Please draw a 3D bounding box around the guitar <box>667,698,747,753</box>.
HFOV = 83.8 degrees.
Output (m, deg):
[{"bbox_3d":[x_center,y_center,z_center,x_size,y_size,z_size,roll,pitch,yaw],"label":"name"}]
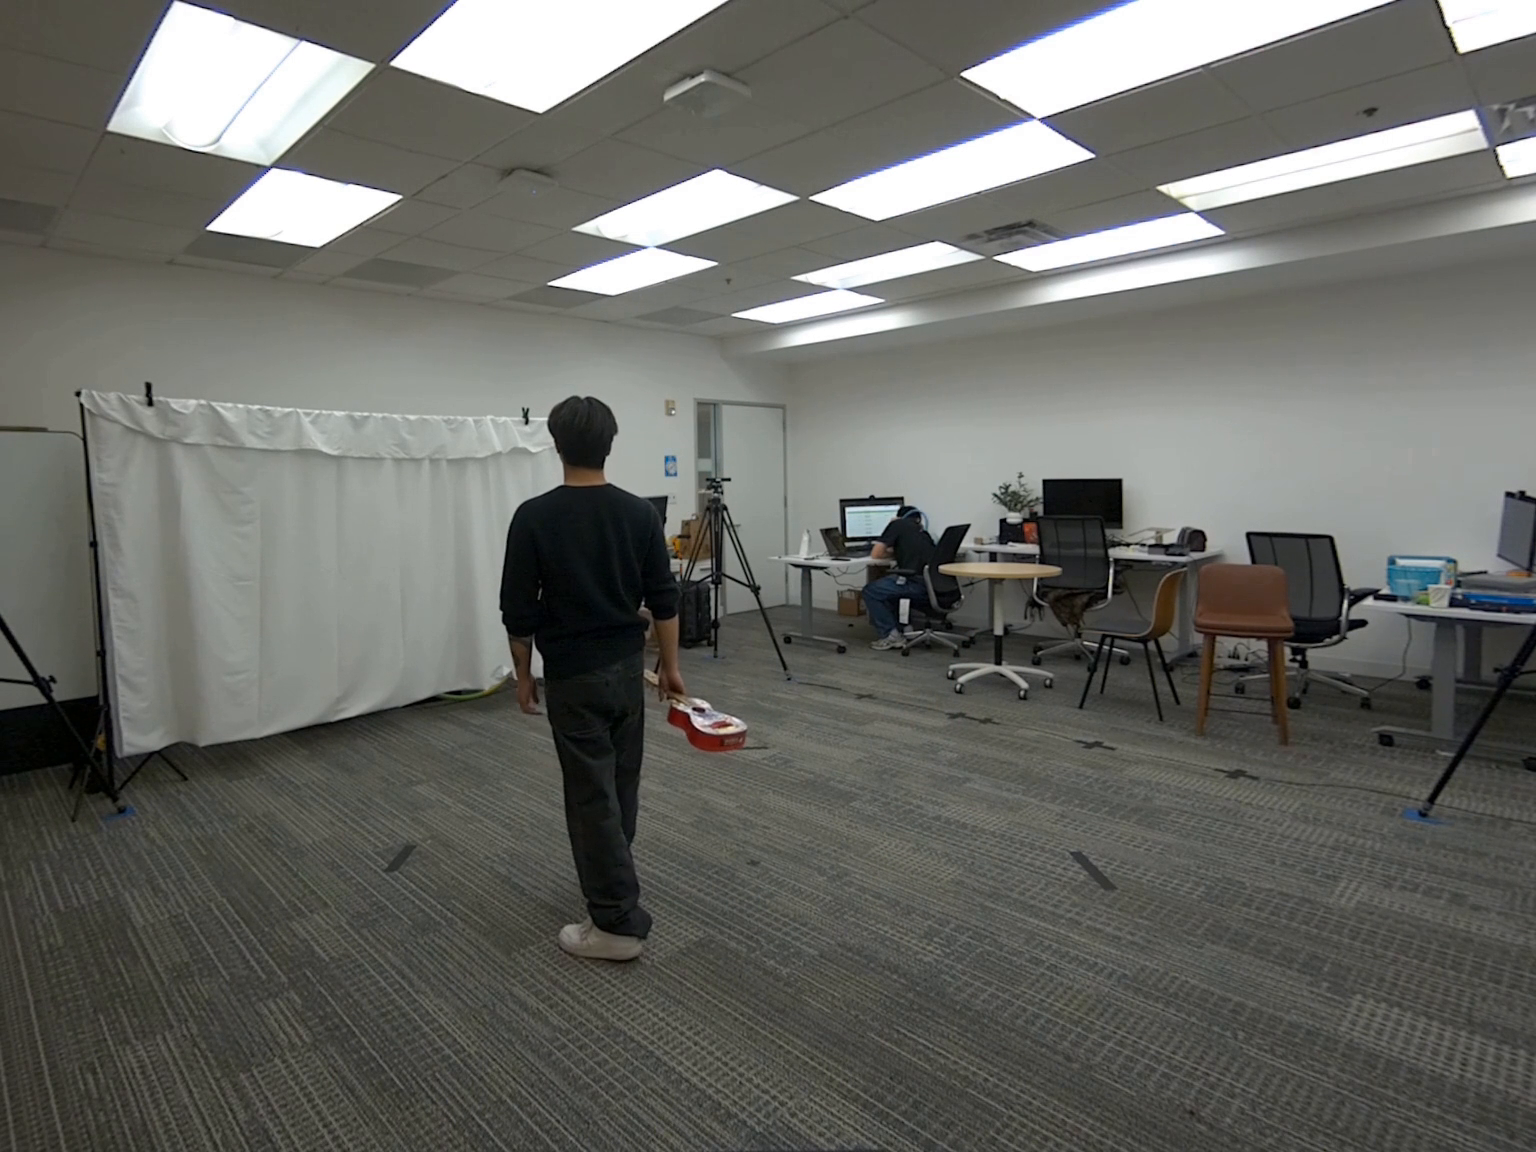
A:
[{"bbox_3d":[-0.252,0.427,2.808,0.187,0.070,0.516,3,15,-35],"label":"guitar"}]
